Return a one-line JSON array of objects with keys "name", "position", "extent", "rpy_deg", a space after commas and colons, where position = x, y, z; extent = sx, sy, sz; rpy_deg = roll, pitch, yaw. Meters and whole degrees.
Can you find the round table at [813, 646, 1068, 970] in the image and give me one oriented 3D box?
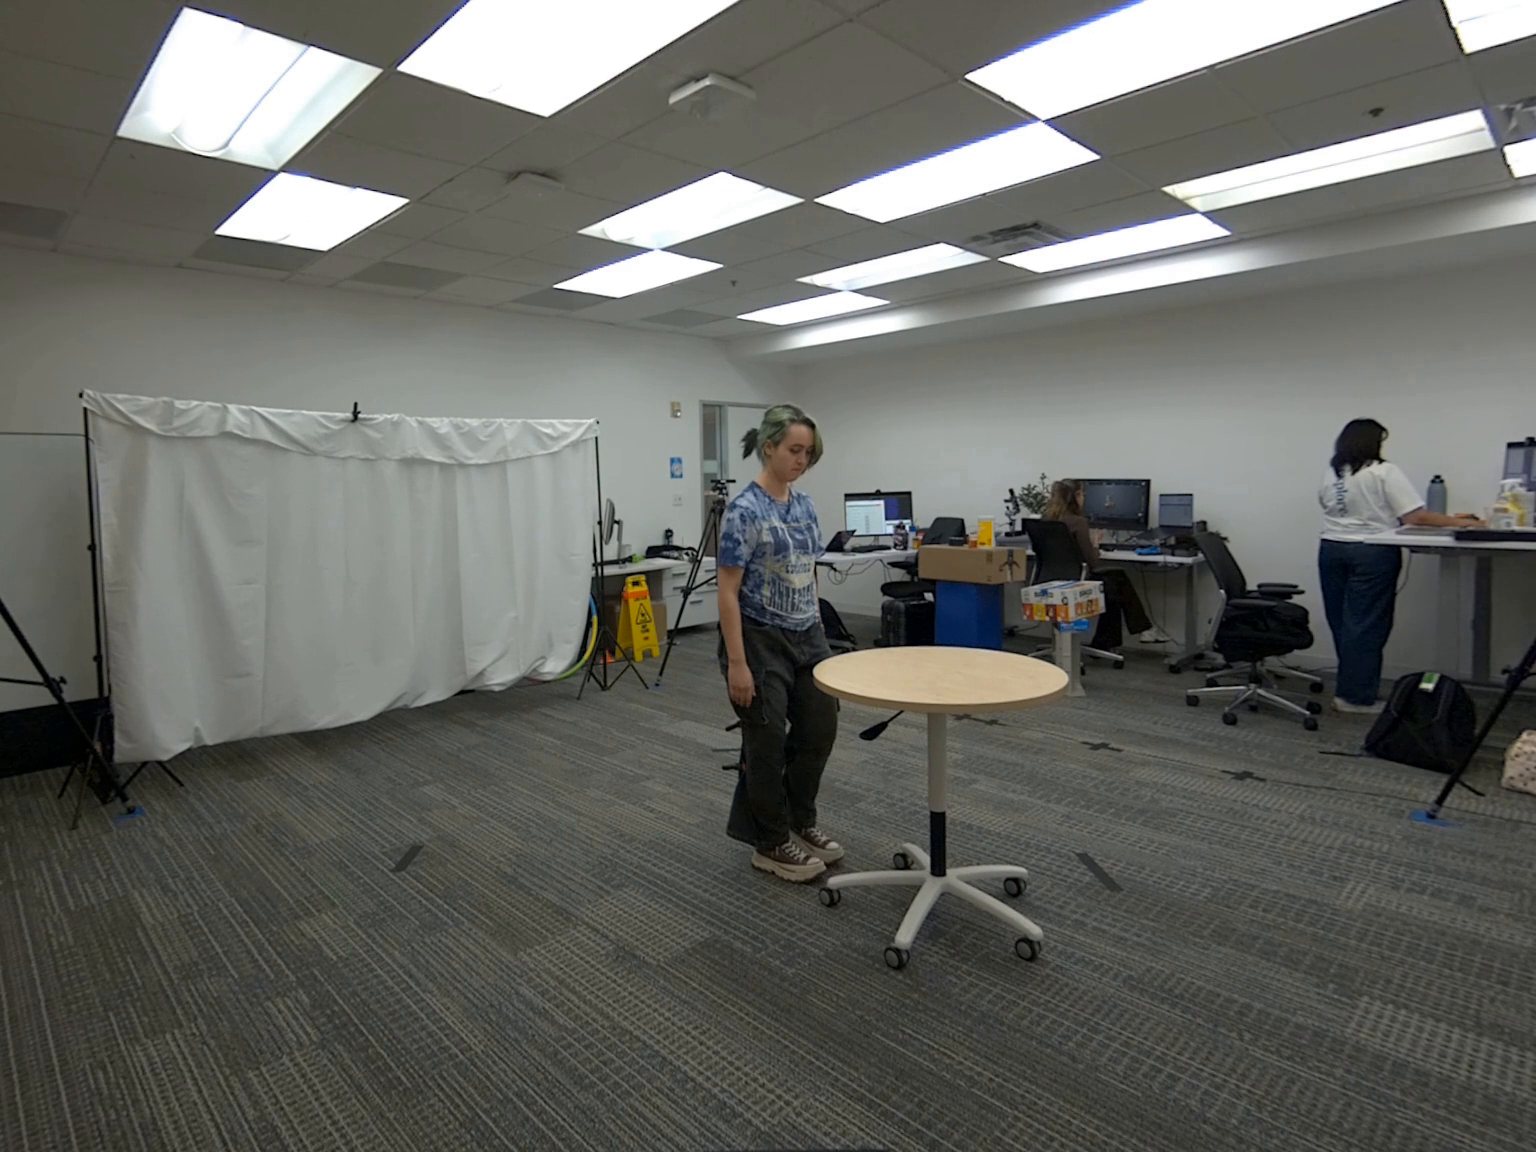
[{"name": "round table", "position": [0.542, 0.696, 2.677], "extent": [0.763, 0.790, 0.768], "rpy_deg": [-1, 5, -2]}]
